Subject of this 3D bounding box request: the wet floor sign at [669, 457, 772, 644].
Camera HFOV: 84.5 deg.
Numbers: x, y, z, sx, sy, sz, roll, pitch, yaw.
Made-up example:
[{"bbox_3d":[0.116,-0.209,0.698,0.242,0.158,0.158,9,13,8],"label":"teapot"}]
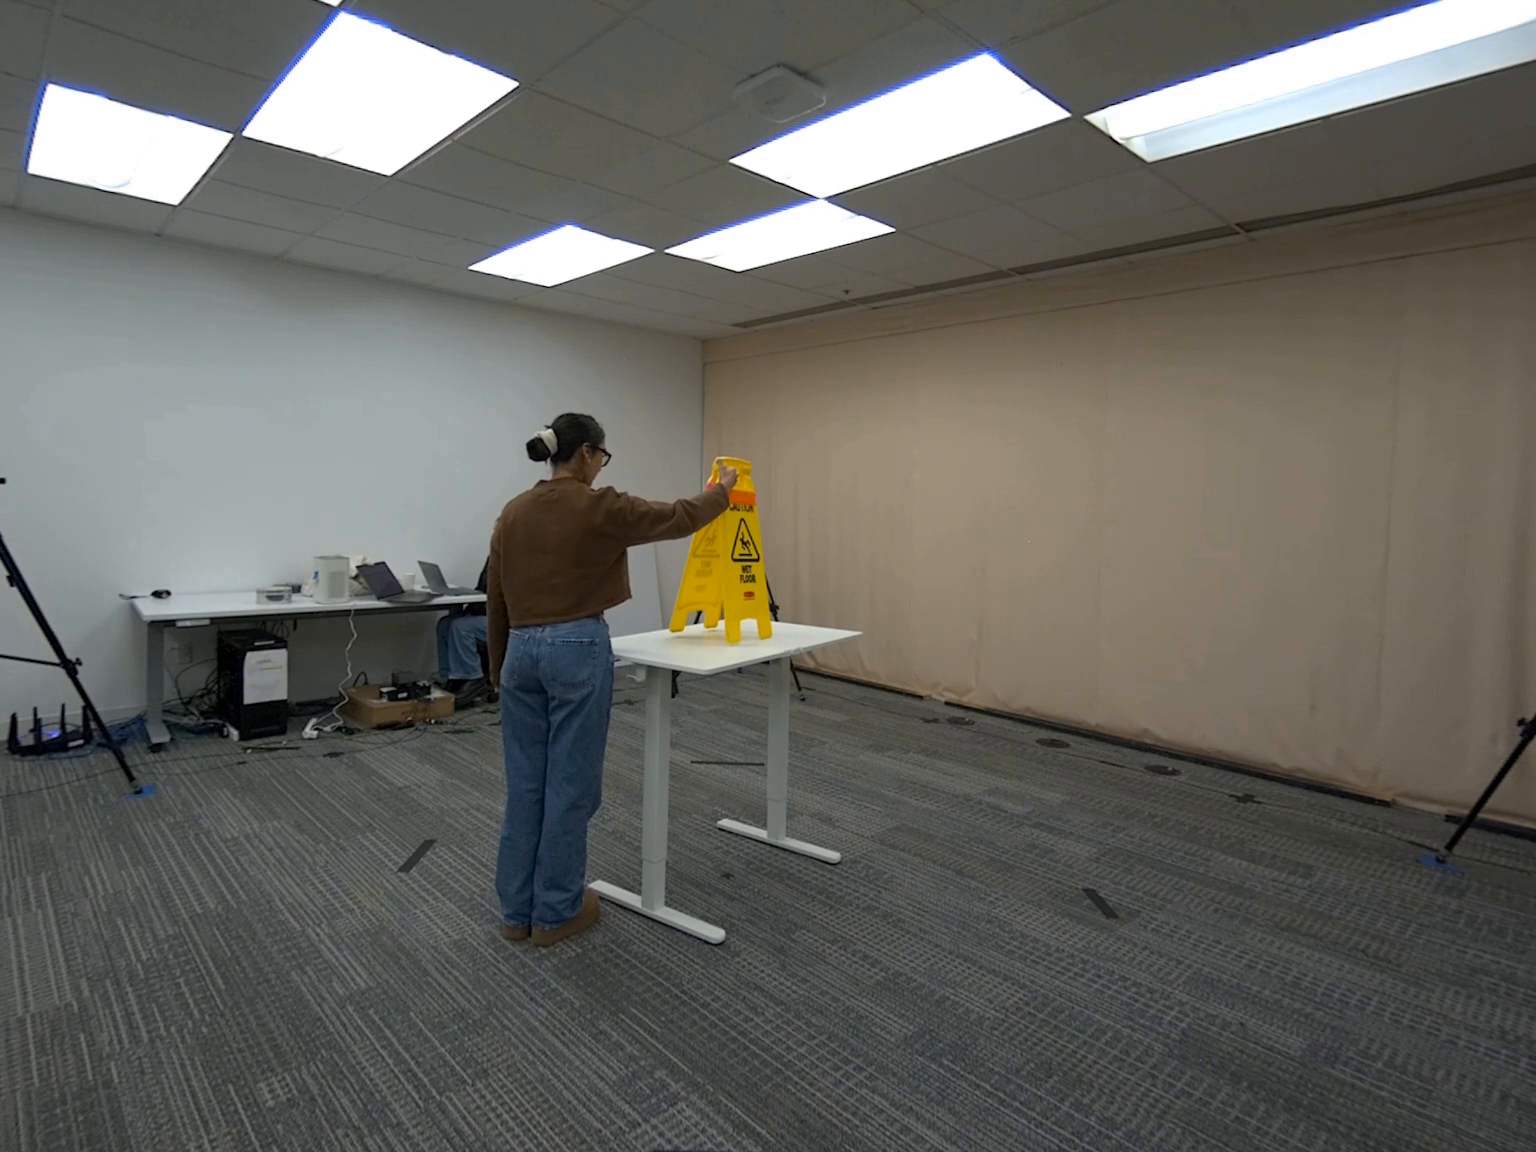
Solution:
[{"bbox_3d":[-0.152,-0.103,3.076,0.297,0.645,0.276,7,4,33],"label":"wet floor sign"}]
